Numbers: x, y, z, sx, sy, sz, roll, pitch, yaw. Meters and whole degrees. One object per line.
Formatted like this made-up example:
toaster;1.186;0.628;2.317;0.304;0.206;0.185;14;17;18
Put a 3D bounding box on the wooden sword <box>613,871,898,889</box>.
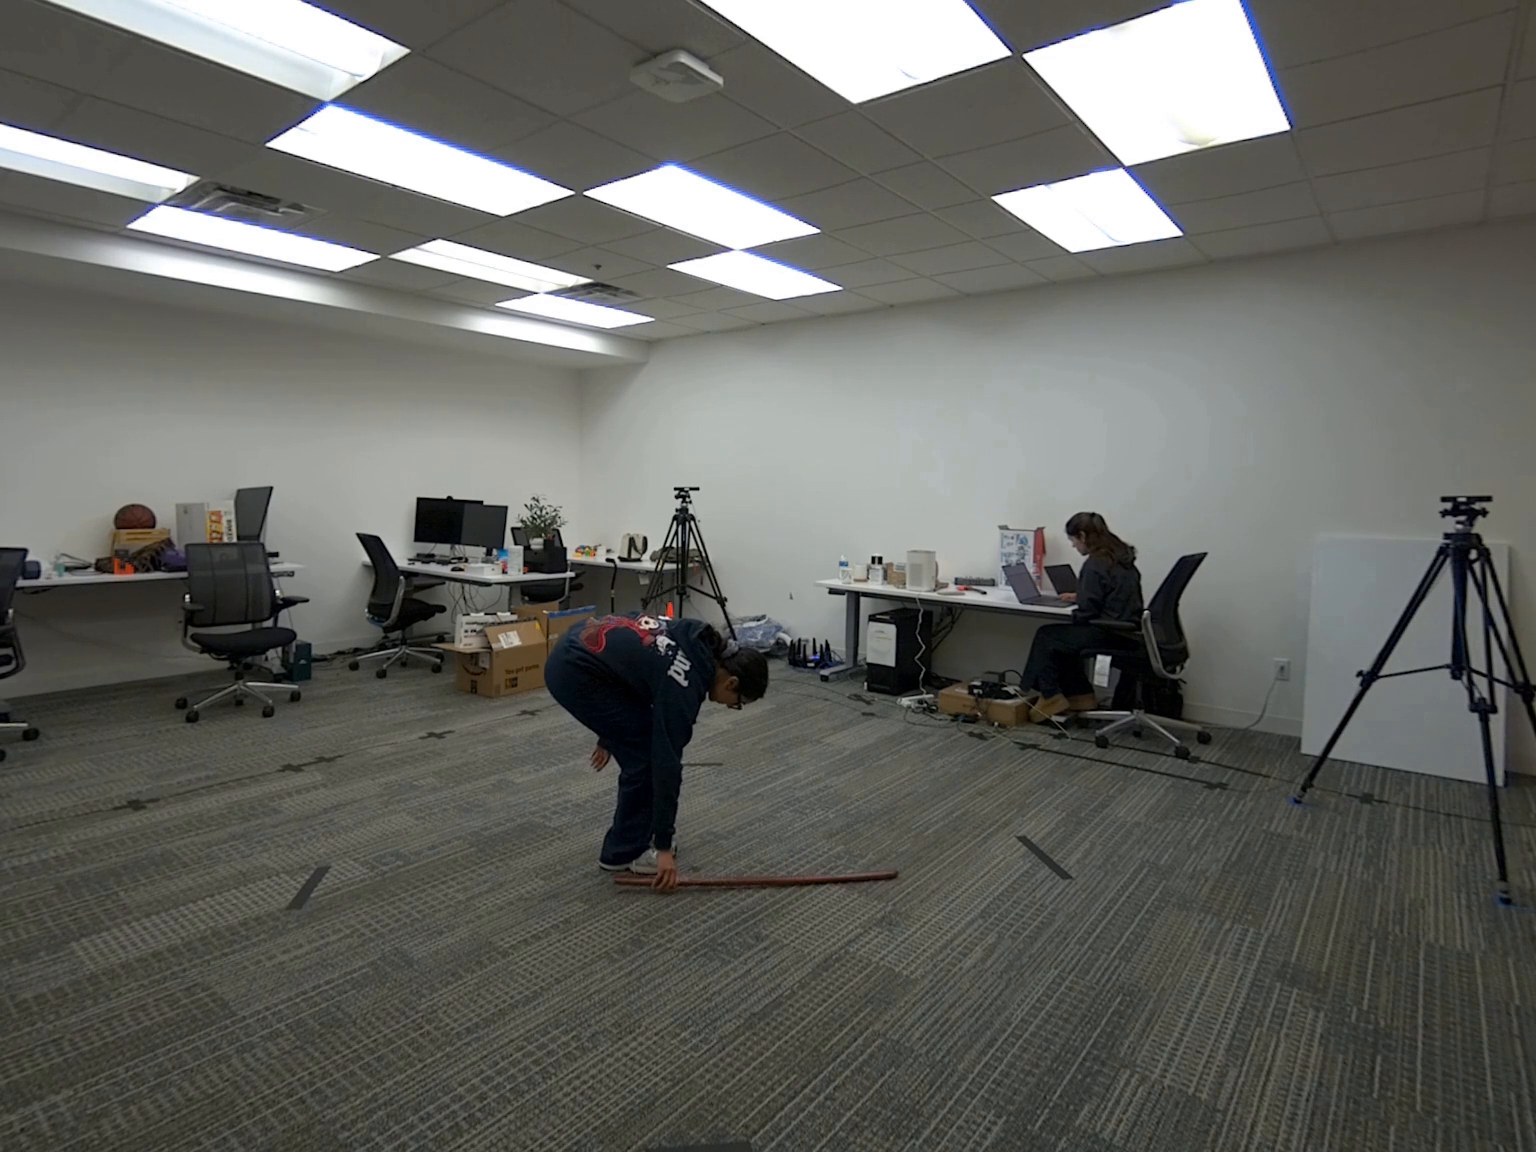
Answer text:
wooden sword;-0.026;1.061;2.975;1.012;0.050;0.025;1;24;-12
